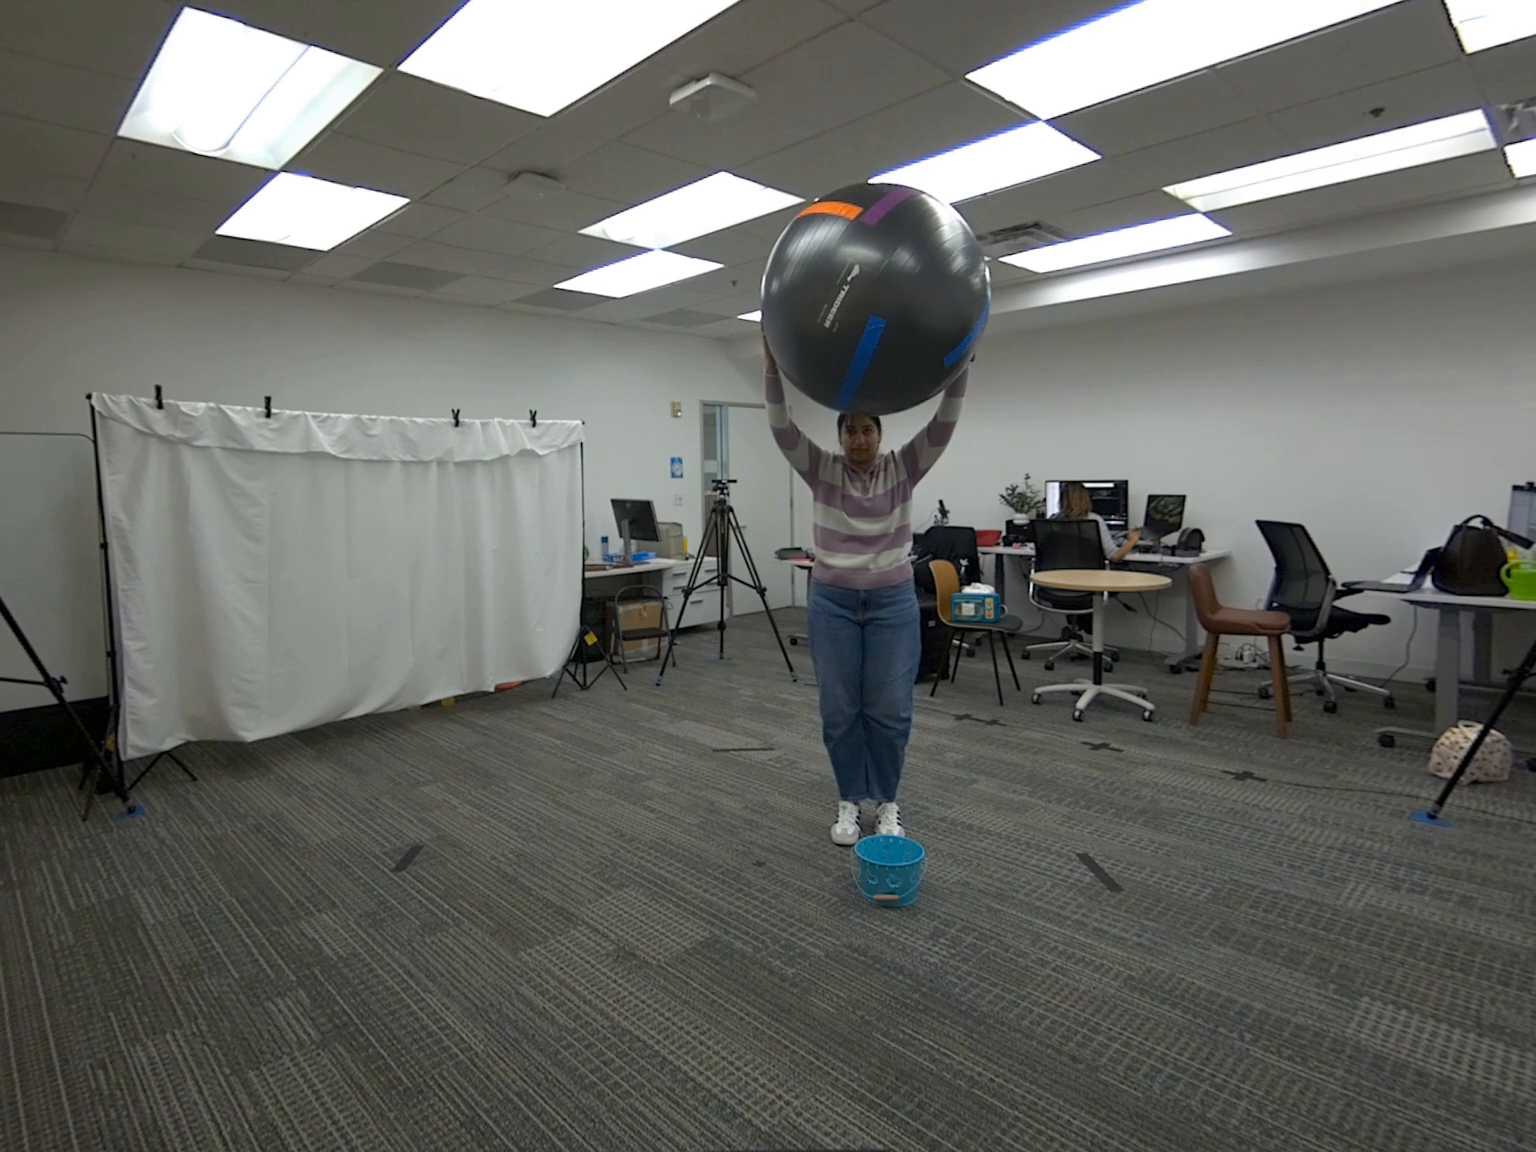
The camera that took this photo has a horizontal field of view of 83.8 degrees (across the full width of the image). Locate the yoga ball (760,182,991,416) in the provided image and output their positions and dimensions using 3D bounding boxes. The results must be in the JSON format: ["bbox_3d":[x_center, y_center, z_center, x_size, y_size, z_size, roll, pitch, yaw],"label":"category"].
[{"bbox_3d":[0.353,-0.917,2.868,0.757,0.755,0.762,-1,5,-2],"label":"yoga ball"}]
